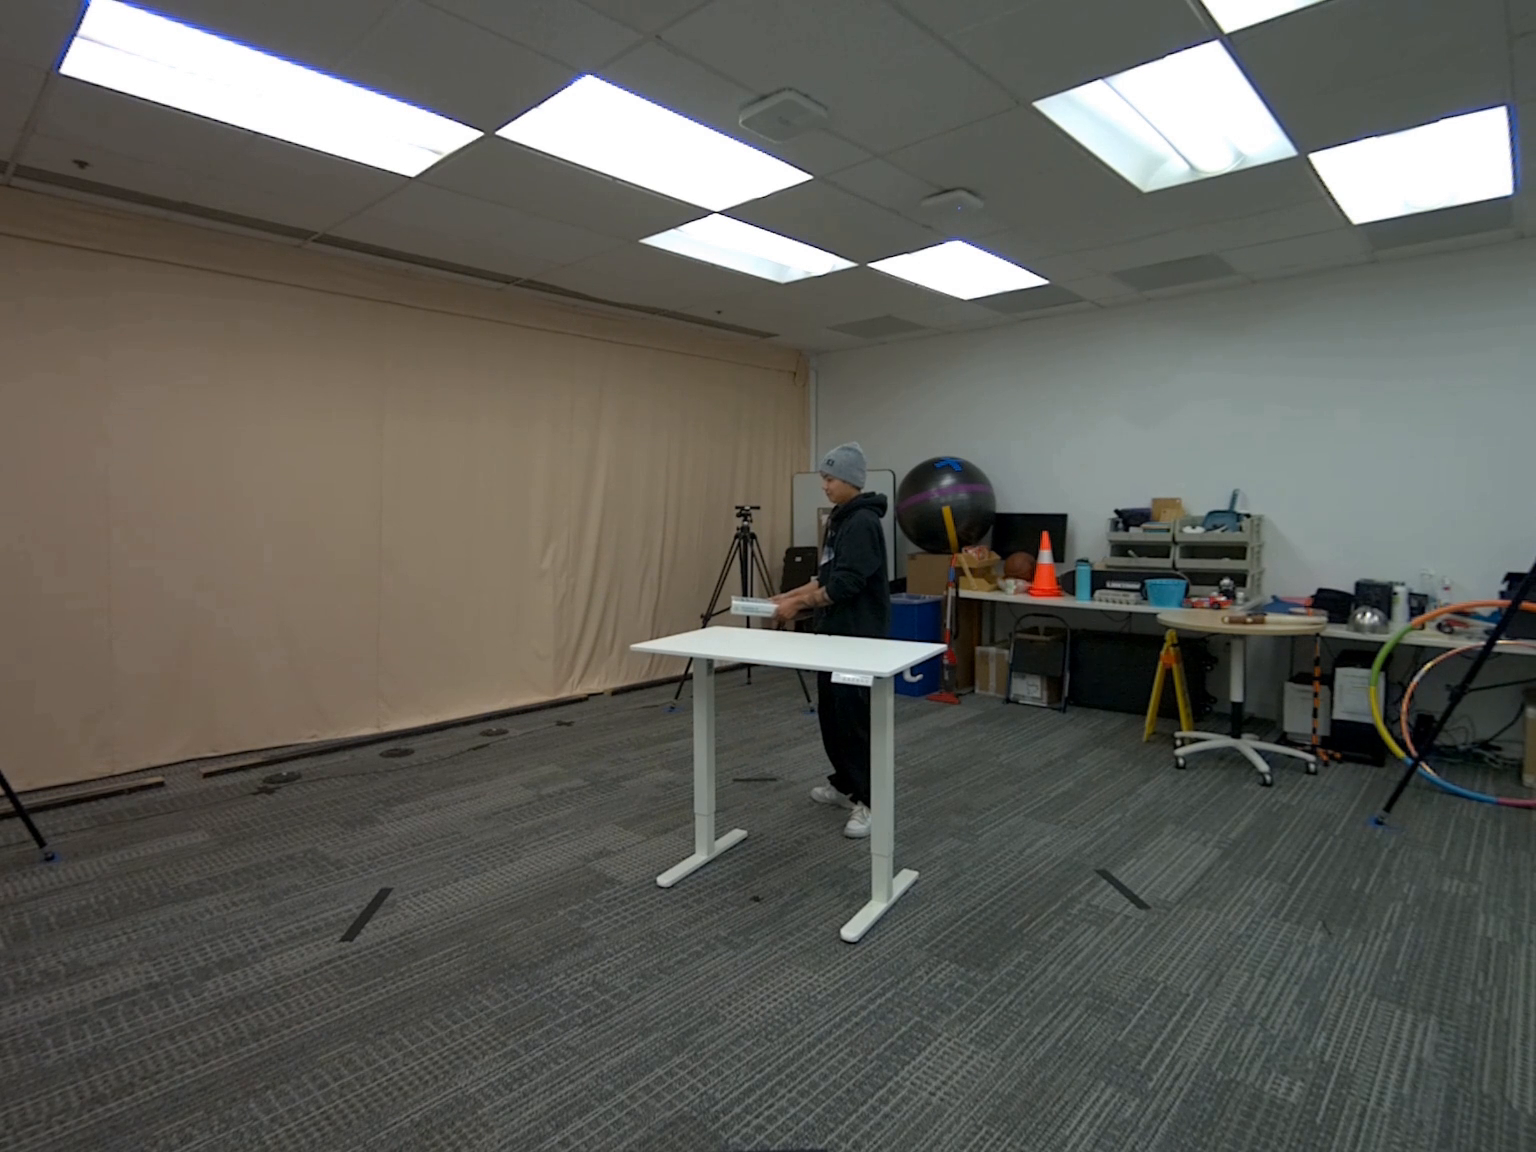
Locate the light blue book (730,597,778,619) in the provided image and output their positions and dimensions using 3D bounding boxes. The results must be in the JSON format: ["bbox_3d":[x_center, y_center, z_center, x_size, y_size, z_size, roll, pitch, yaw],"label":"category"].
[{"bbox_3d":[-0.024,0.146,3.828,0.261,0.059,0.192,5,5,-1],"label":"light blue book"}]
